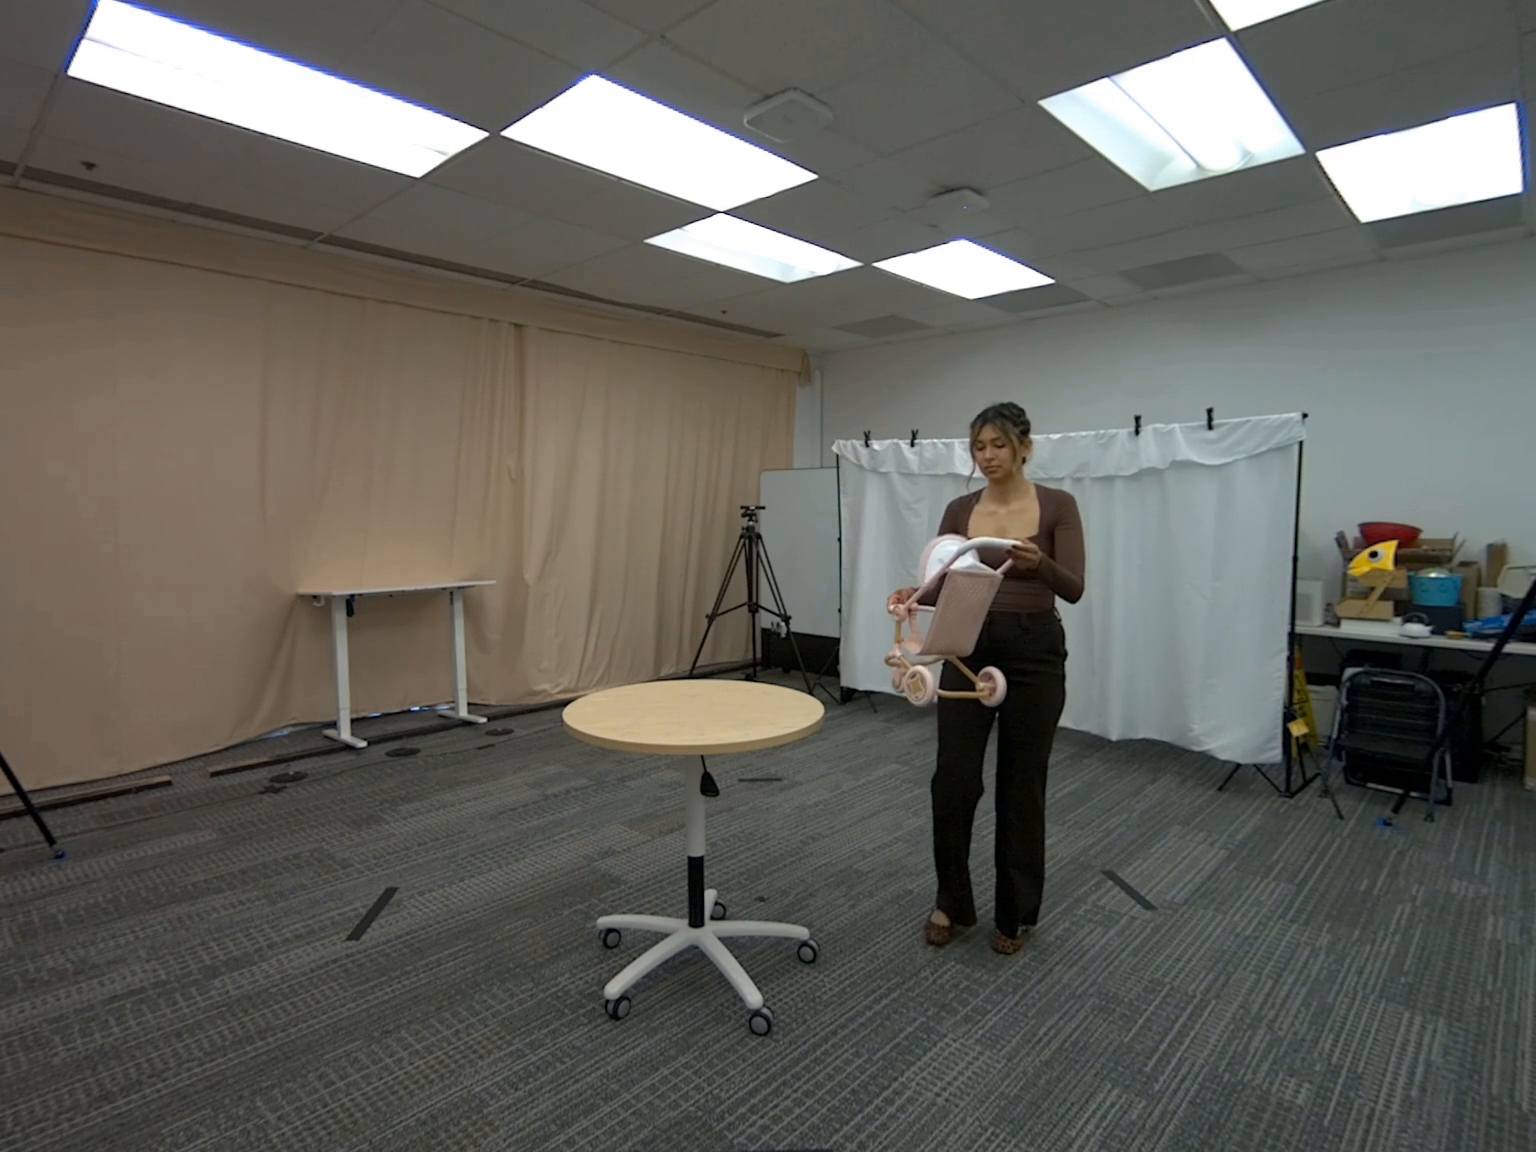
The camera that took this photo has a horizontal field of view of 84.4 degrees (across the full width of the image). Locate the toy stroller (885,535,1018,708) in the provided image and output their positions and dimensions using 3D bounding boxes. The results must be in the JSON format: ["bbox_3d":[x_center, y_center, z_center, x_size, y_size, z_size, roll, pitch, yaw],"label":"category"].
[{"bbox_3d":[0.501,0.127,2.376,0.275,0.533,0.351,6,10,-22],"label":"toy stroller"}]
